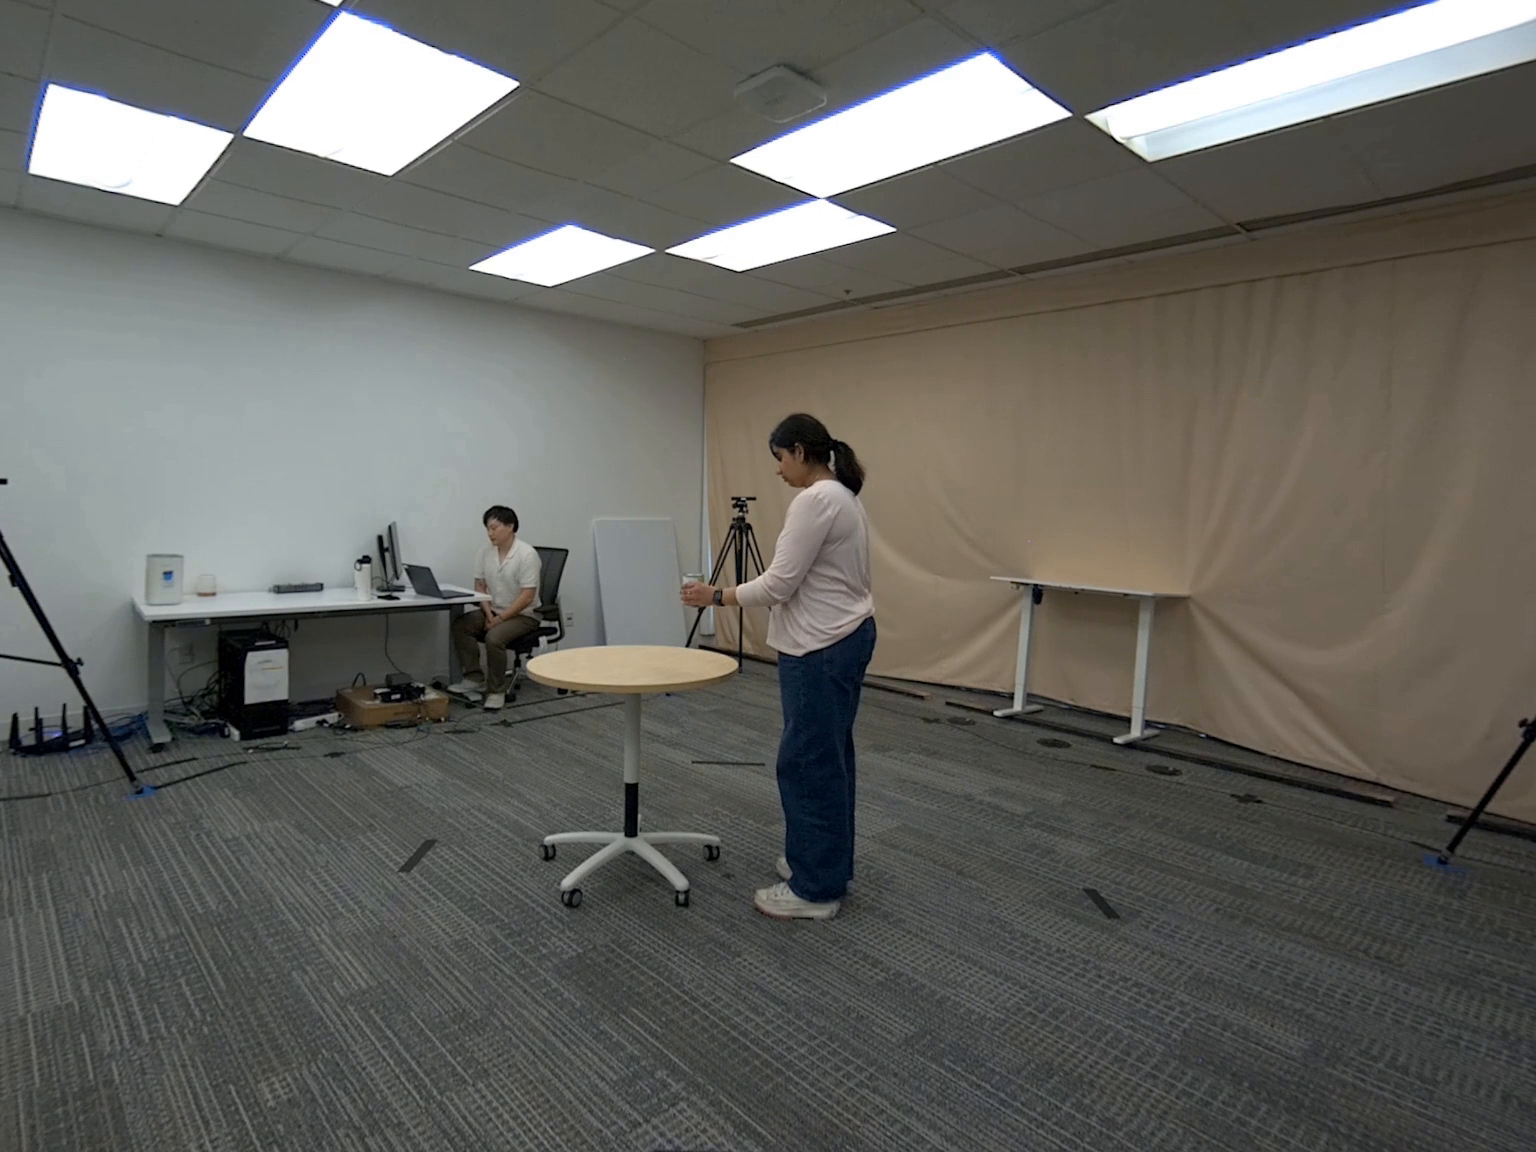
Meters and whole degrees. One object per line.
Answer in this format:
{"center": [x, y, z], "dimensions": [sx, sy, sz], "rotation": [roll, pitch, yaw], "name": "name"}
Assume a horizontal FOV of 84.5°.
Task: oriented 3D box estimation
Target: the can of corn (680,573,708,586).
{"center": [-0.262, 0.054, 2.969], "dimensions": [0.074, 0.111, 0.074], "rotation": [1, 3, -1], "name": "can of corn"}
